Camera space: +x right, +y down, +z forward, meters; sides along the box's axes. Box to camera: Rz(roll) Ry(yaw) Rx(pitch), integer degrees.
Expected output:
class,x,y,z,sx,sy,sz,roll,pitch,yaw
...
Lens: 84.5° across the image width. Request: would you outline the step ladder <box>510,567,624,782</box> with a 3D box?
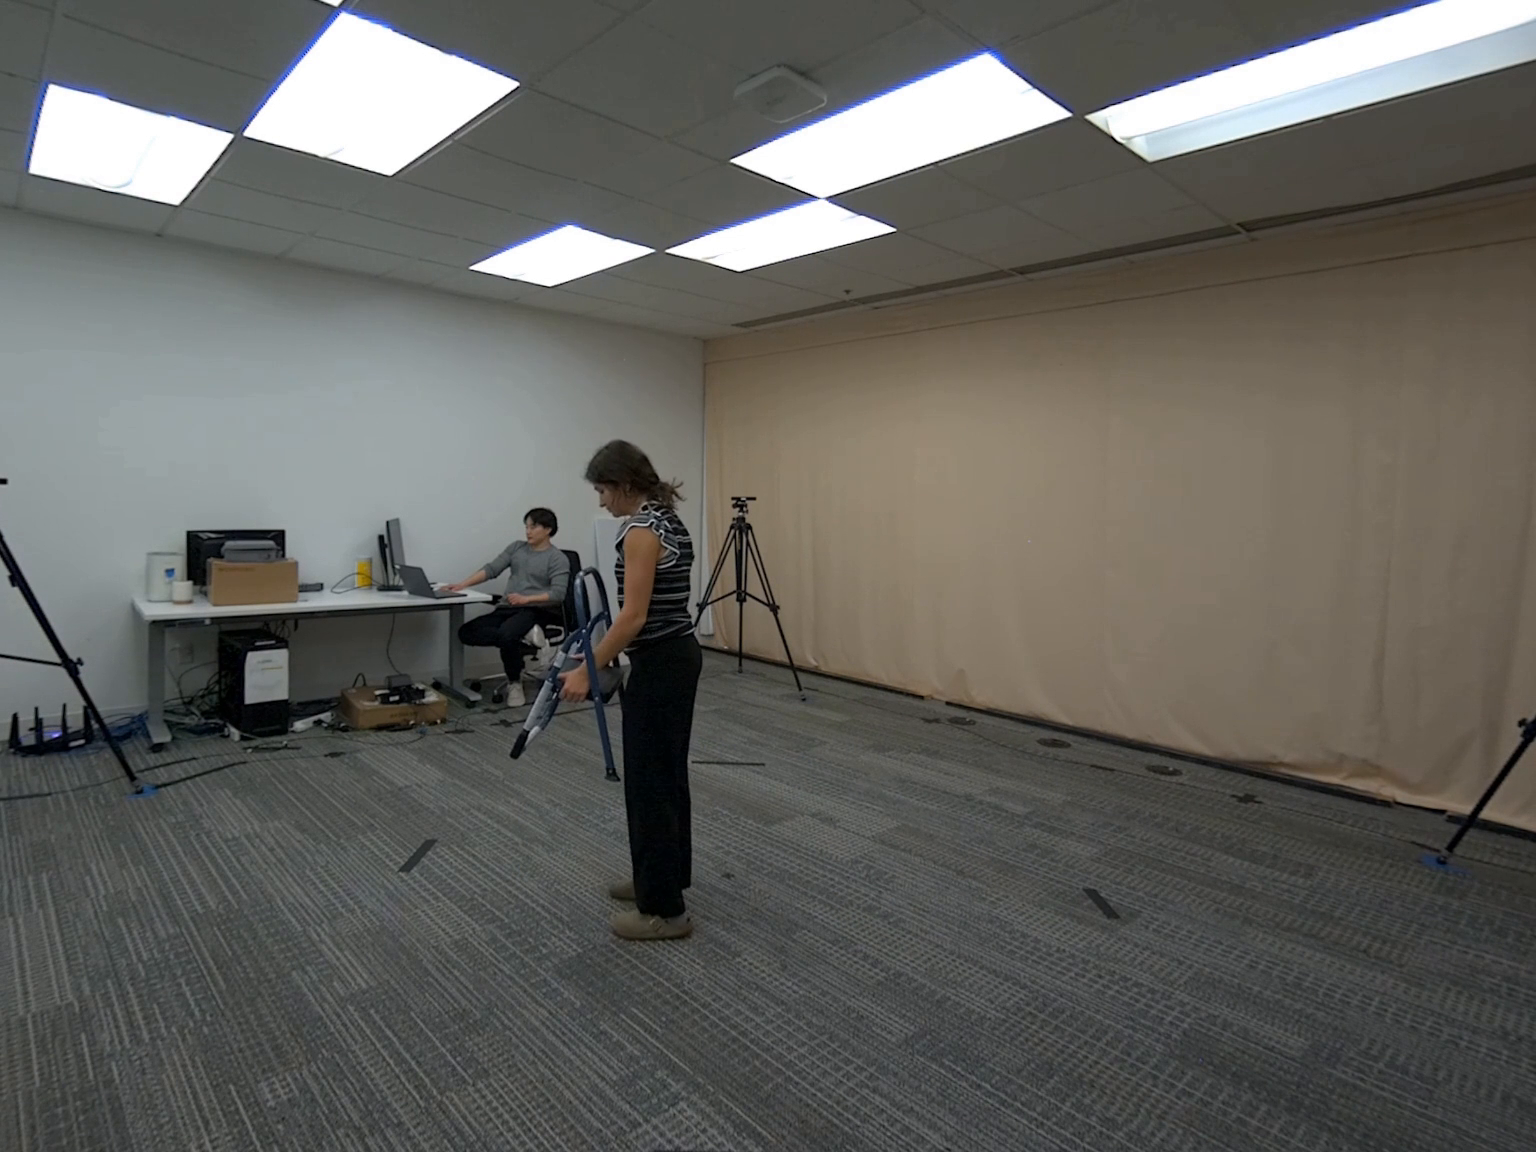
class,x,y,z,sx,sy,sz,roll,pitch,yaw
step ladder,-0.583,0.294,2.794,0.349,0.605,0.432,12,4,-2
